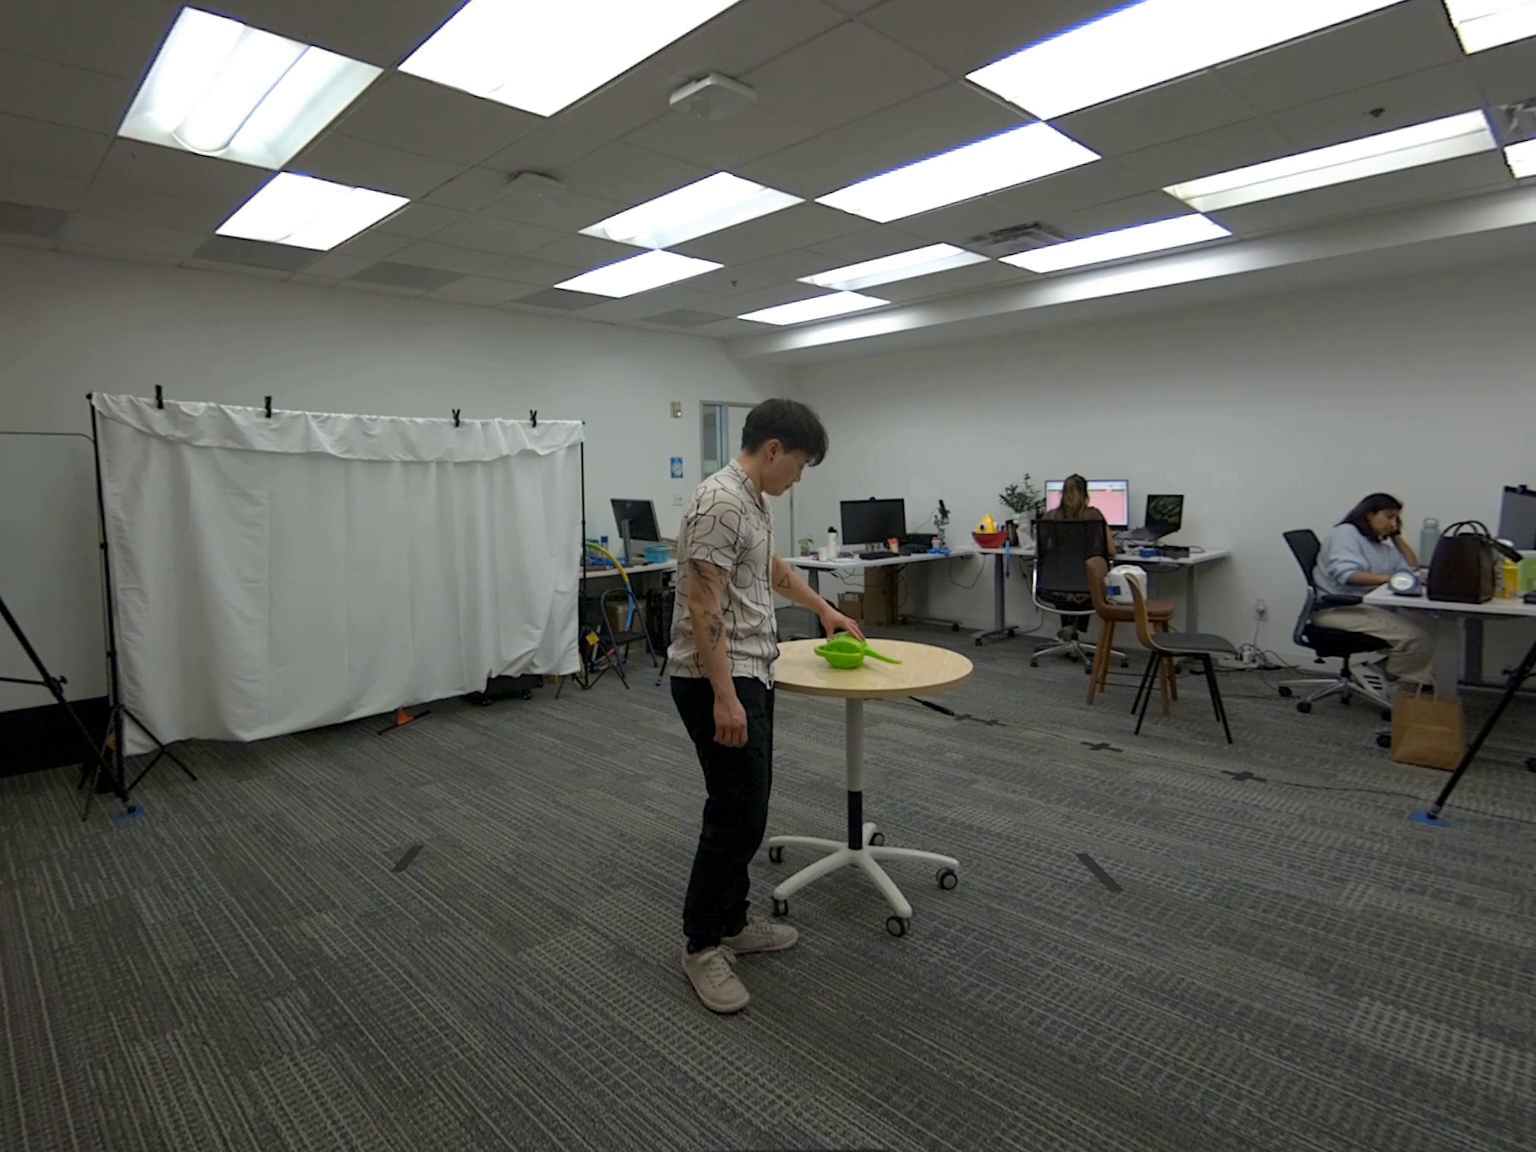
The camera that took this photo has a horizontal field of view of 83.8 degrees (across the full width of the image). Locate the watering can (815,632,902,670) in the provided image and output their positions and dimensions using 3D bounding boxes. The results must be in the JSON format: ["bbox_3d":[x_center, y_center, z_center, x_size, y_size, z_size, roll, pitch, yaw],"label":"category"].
[{"bbox_3d":[0.303,0.263,2.783,0.282,0.097,0.175,17,9,10],"label":"watering can"}]
